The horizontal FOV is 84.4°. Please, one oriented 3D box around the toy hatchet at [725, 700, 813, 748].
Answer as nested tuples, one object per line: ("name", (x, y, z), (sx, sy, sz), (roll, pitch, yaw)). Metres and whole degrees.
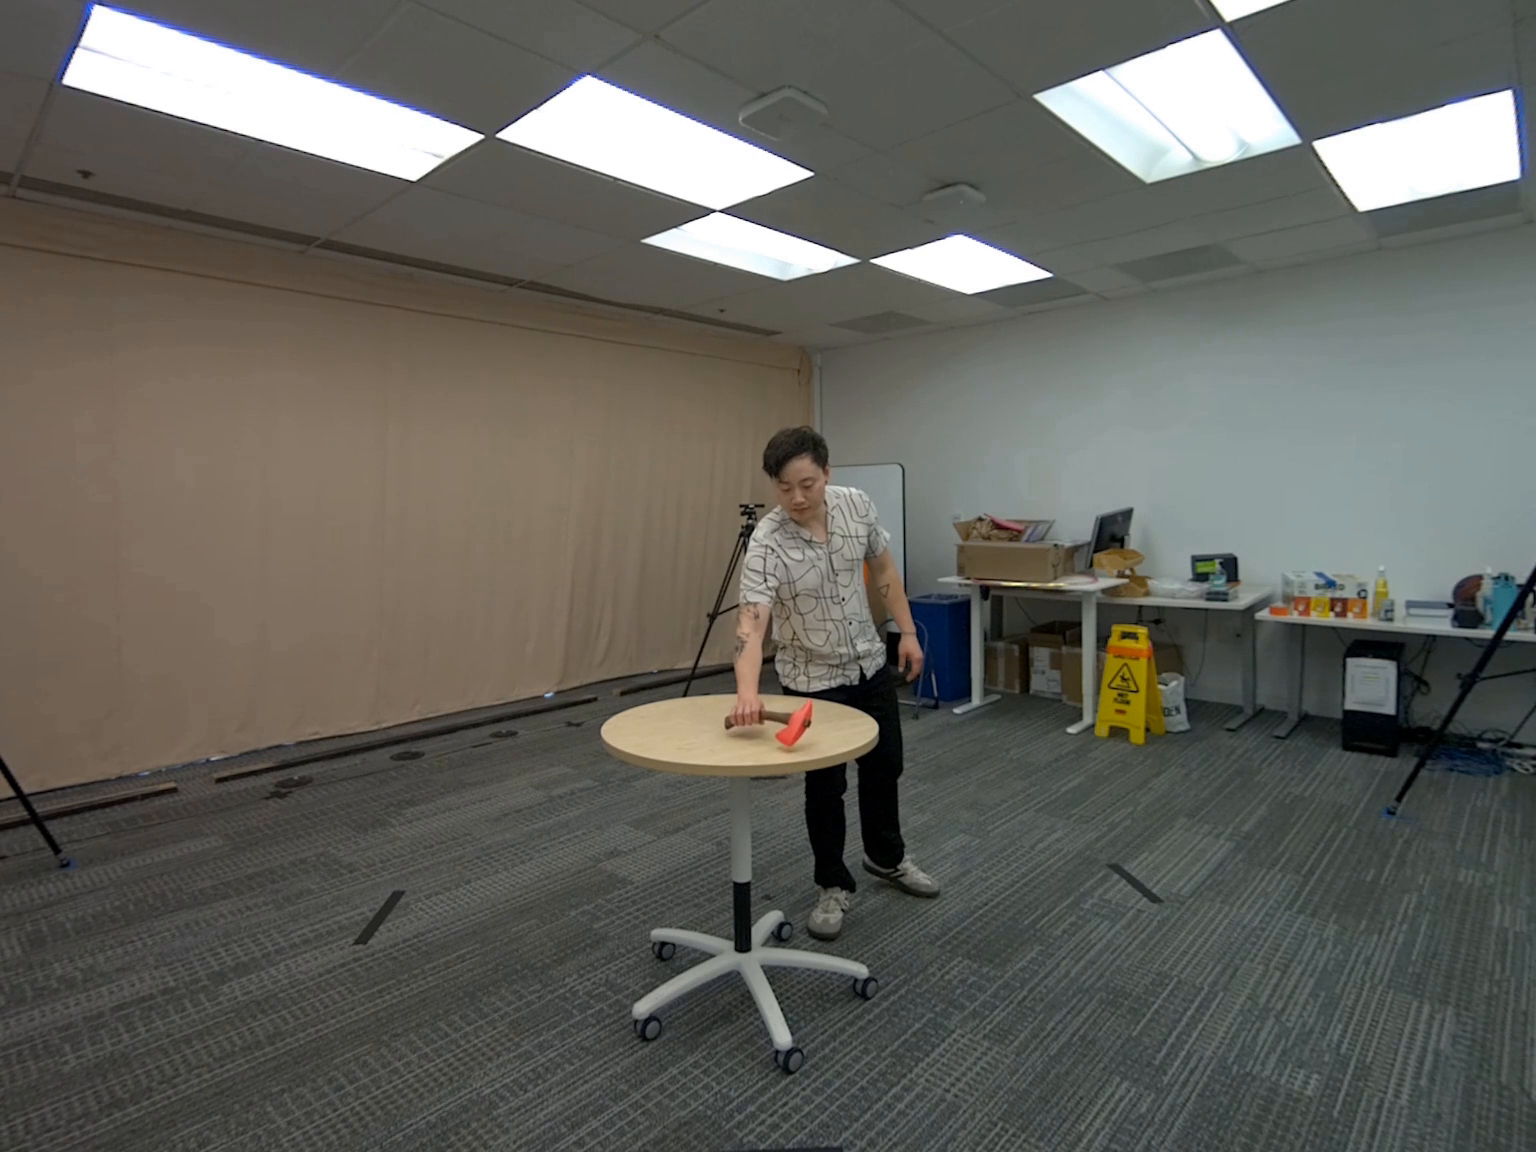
("toy hatchet", (-0.004, 0.386, 2.137), (0.276, 0.132, 0.028), (-19, -48, 33))
